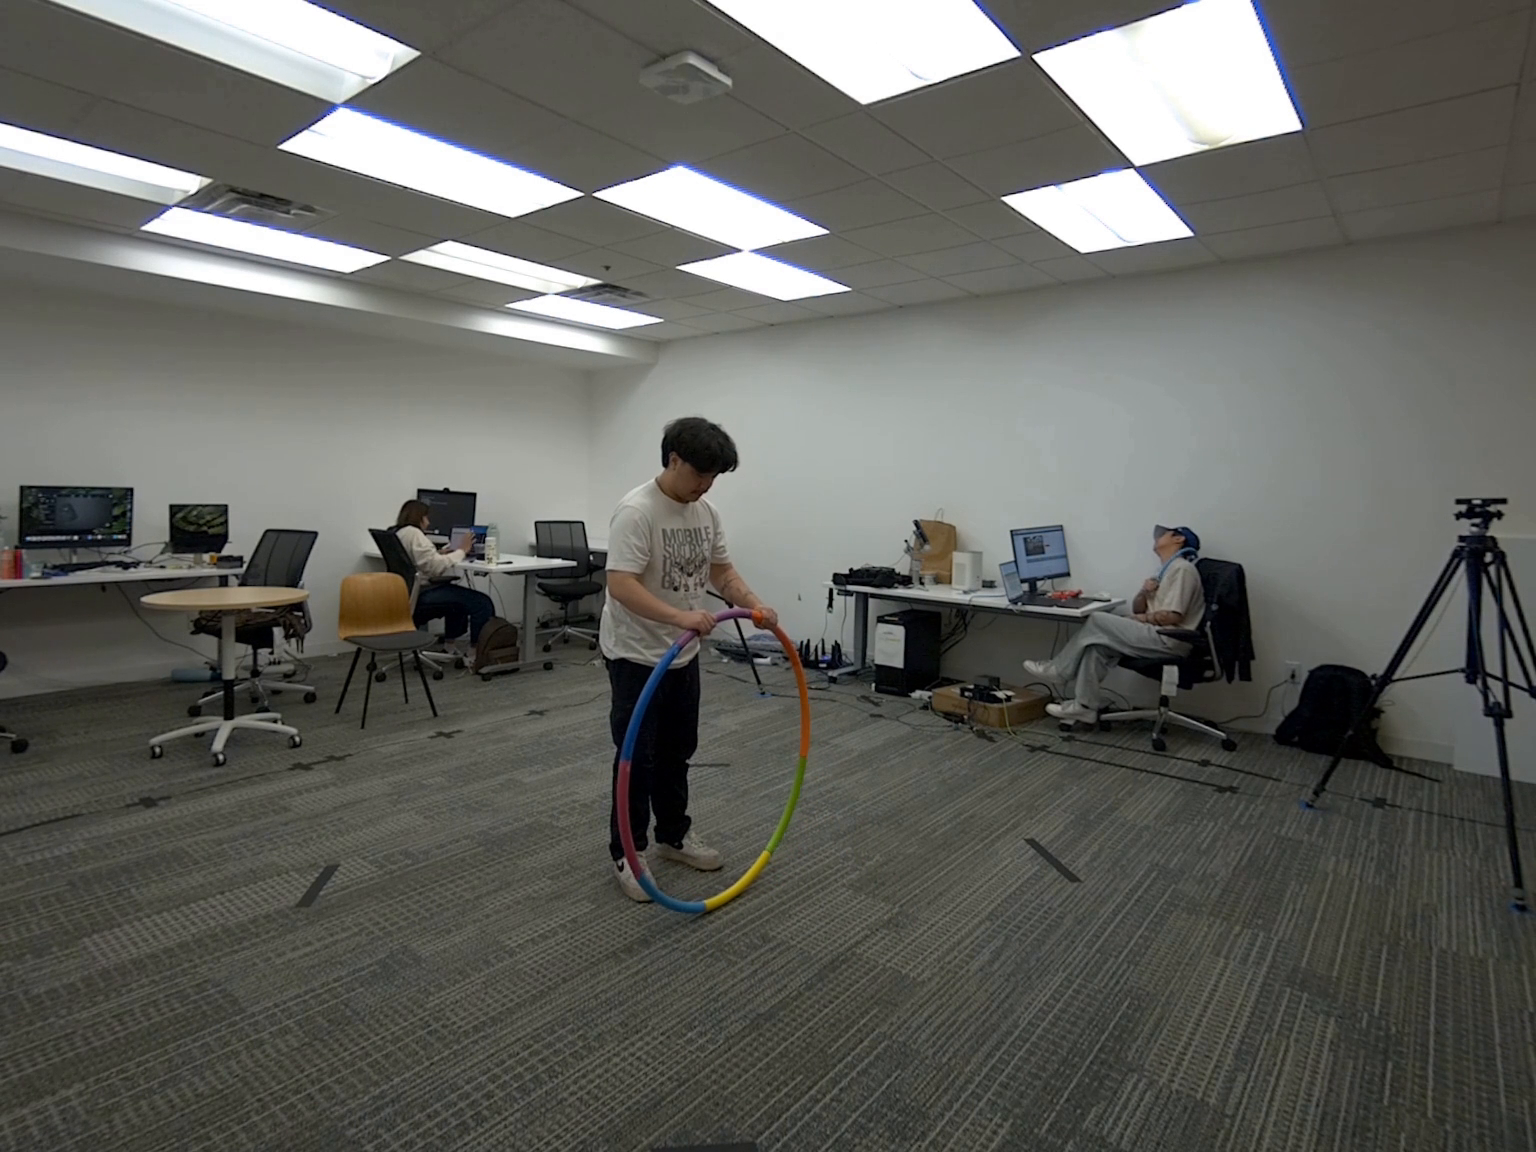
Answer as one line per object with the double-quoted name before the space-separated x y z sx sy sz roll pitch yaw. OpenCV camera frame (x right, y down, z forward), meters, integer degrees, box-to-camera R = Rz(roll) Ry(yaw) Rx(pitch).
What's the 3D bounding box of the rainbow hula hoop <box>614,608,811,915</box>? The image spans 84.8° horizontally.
"rainbow hula hoop" -0.148 0.603 2.831 0.053 0.983 0.956 2 4 38
